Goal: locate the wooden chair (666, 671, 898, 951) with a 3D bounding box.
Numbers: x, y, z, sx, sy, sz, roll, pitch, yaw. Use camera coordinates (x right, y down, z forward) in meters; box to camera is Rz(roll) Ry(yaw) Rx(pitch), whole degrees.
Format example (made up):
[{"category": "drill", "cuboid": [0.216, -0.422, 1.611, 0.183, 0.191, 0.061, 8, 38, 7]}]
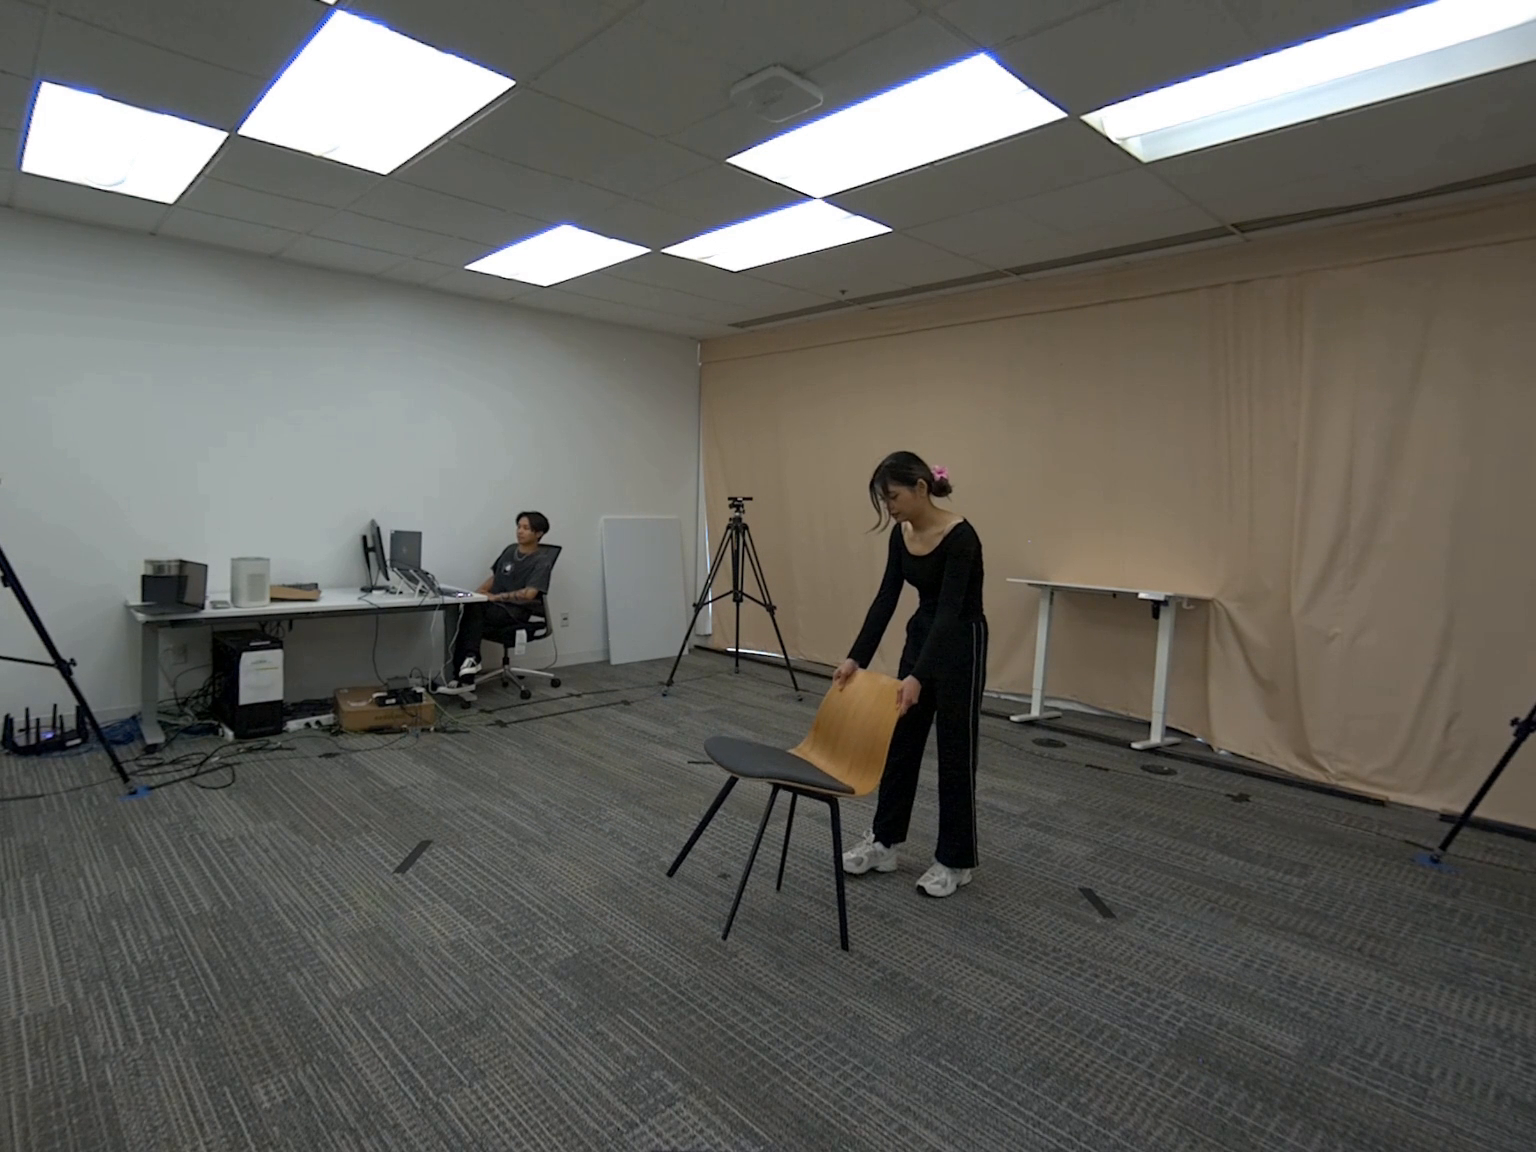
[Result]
[{"category": "wooden chair", "cuboid": [0.061, 0.672, 2.724, 0.511, 0.879, 0.488, 22, -6, -27]}]
